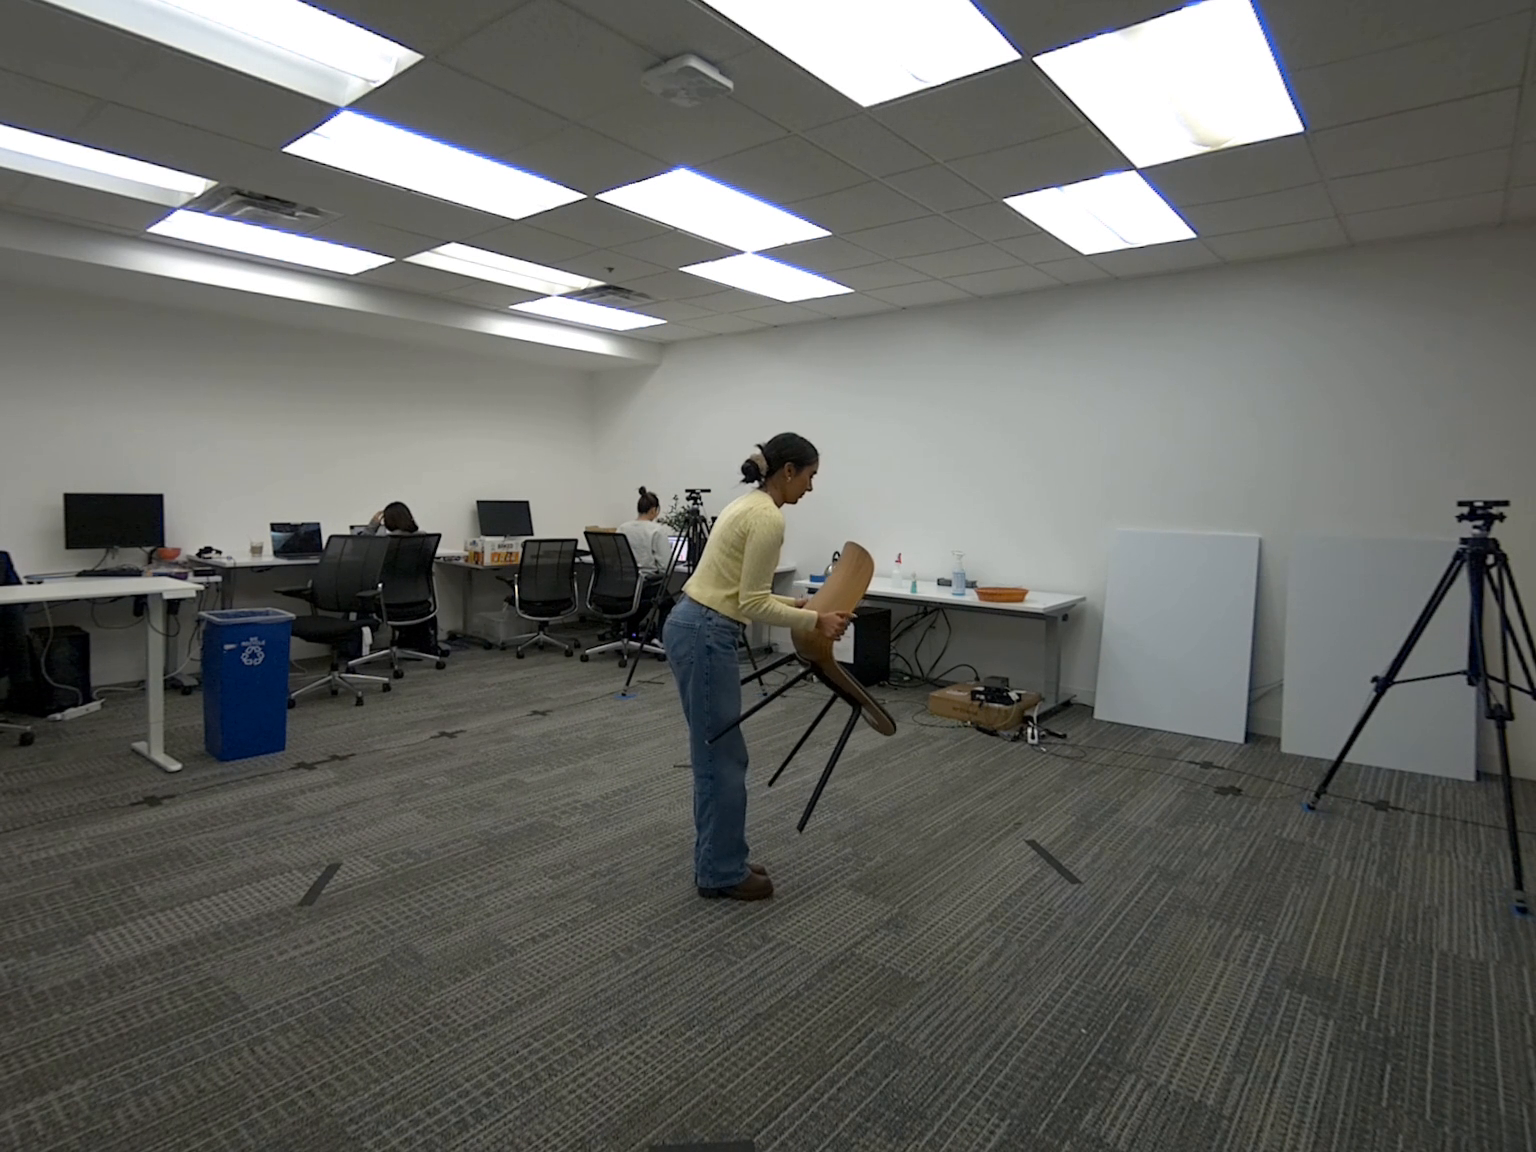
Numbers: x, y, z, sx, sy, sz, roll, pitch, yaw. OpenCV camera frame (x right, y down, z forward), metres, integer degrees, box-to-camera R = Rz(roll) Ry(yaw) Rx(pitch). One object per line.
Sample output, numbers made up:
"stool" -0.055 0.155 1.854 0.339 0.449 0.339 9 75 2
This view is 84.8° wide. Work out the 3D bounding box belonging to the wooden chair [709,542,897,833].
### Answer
"wooden chair" 0.204 0.379 3.038 0.516 0.877 0.485 41 -4 -11
